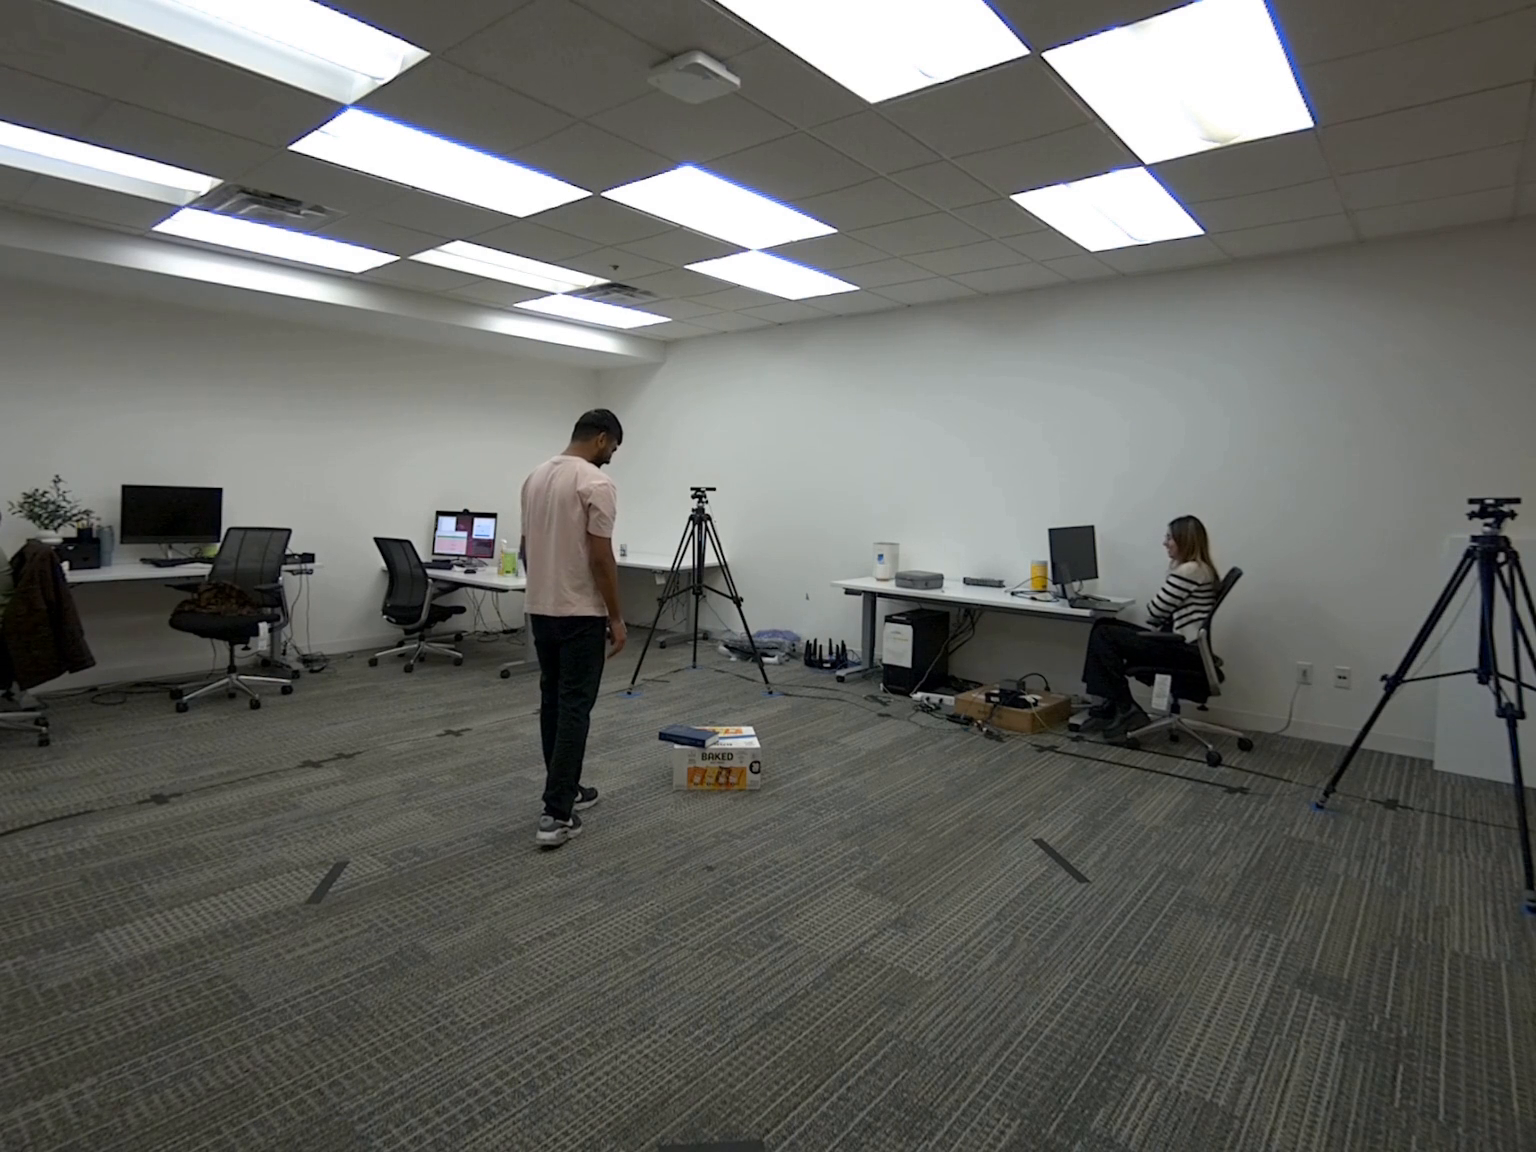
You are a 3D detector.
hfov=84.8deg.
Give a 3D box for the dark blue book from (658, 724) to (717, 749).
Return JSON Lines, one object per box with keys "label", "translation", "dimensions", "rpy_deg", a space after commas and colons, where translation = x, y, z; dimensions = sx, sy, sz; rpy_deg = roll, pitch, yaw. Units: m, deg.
{"label": "dark blue book", "translation": [-0.383, 0.751, 4.010], "dimensions": [0.251, 0.045, 0.160], "rpy_deg": [4, 4, 22]}
